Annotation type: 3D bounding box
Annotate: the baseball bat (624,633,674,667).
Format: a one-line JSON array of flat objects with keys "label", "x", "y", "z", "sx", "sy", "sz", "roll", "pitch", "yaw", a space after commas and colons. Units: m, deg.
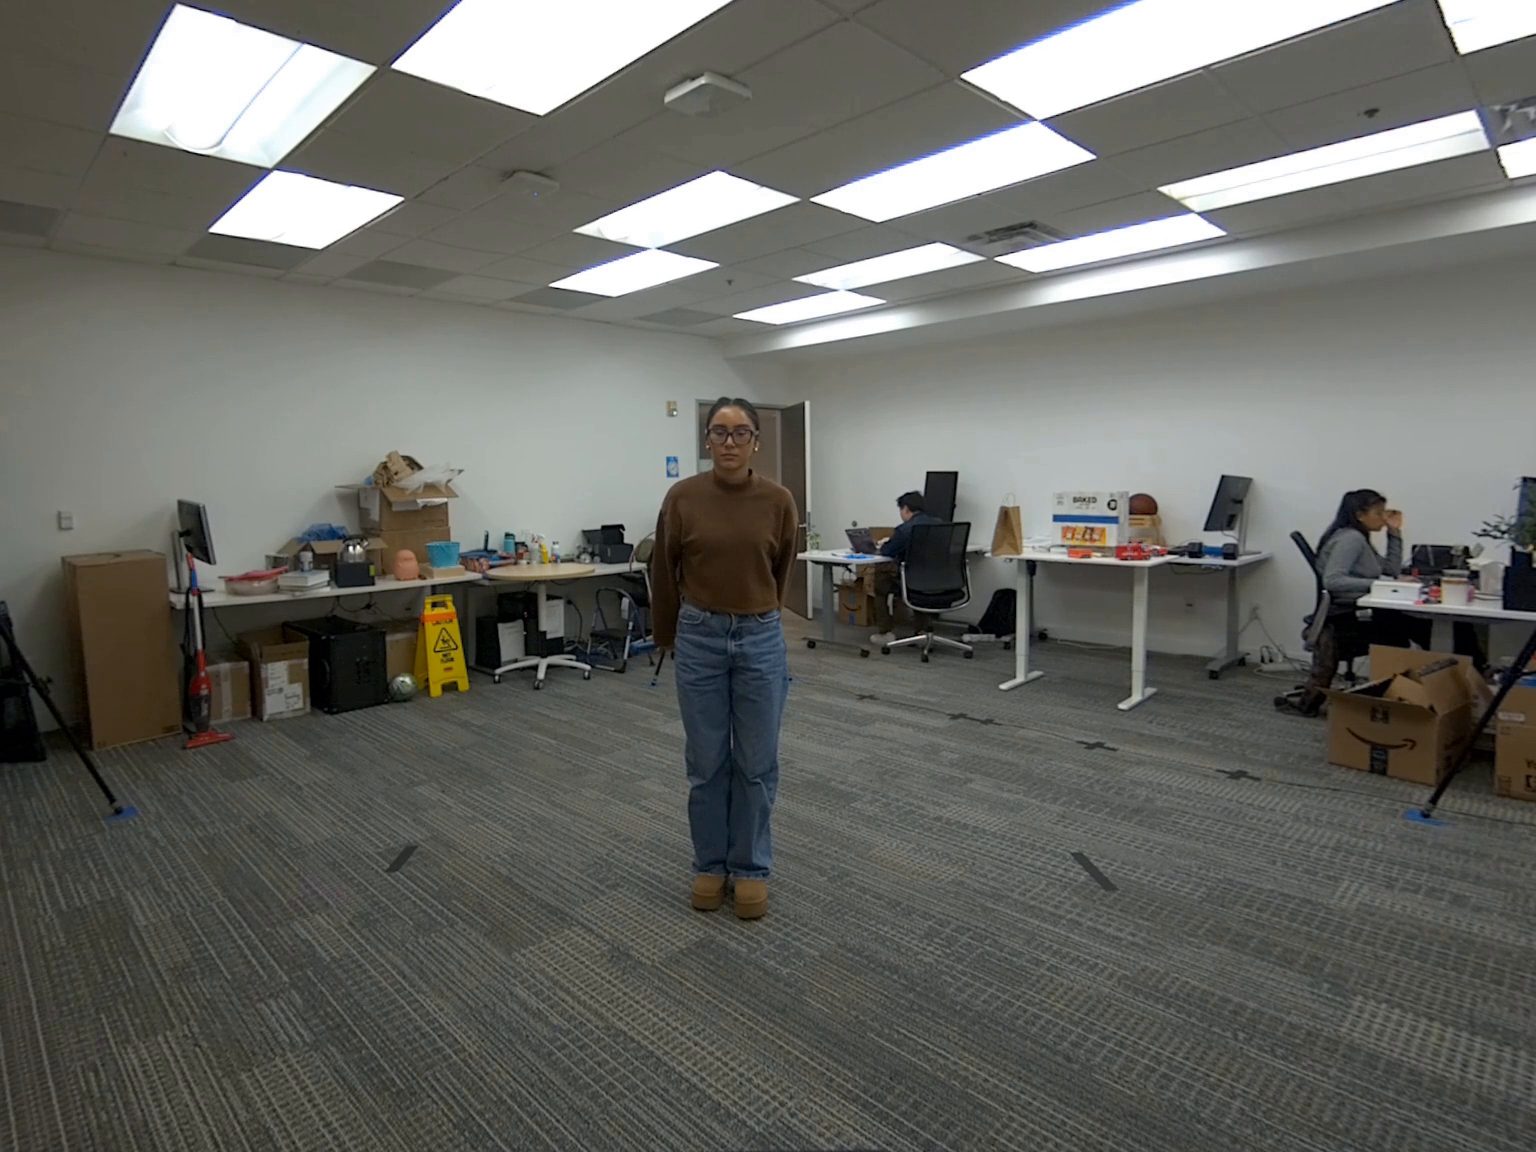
[{"label": "baseball bat", "x": -0.251, "y": 0.233, "z": 3.111, "sx": 0.531, "sy": 0.088, "sz": 0.091, "roll": -7, "pitch": 7, "yaw": -29}]
